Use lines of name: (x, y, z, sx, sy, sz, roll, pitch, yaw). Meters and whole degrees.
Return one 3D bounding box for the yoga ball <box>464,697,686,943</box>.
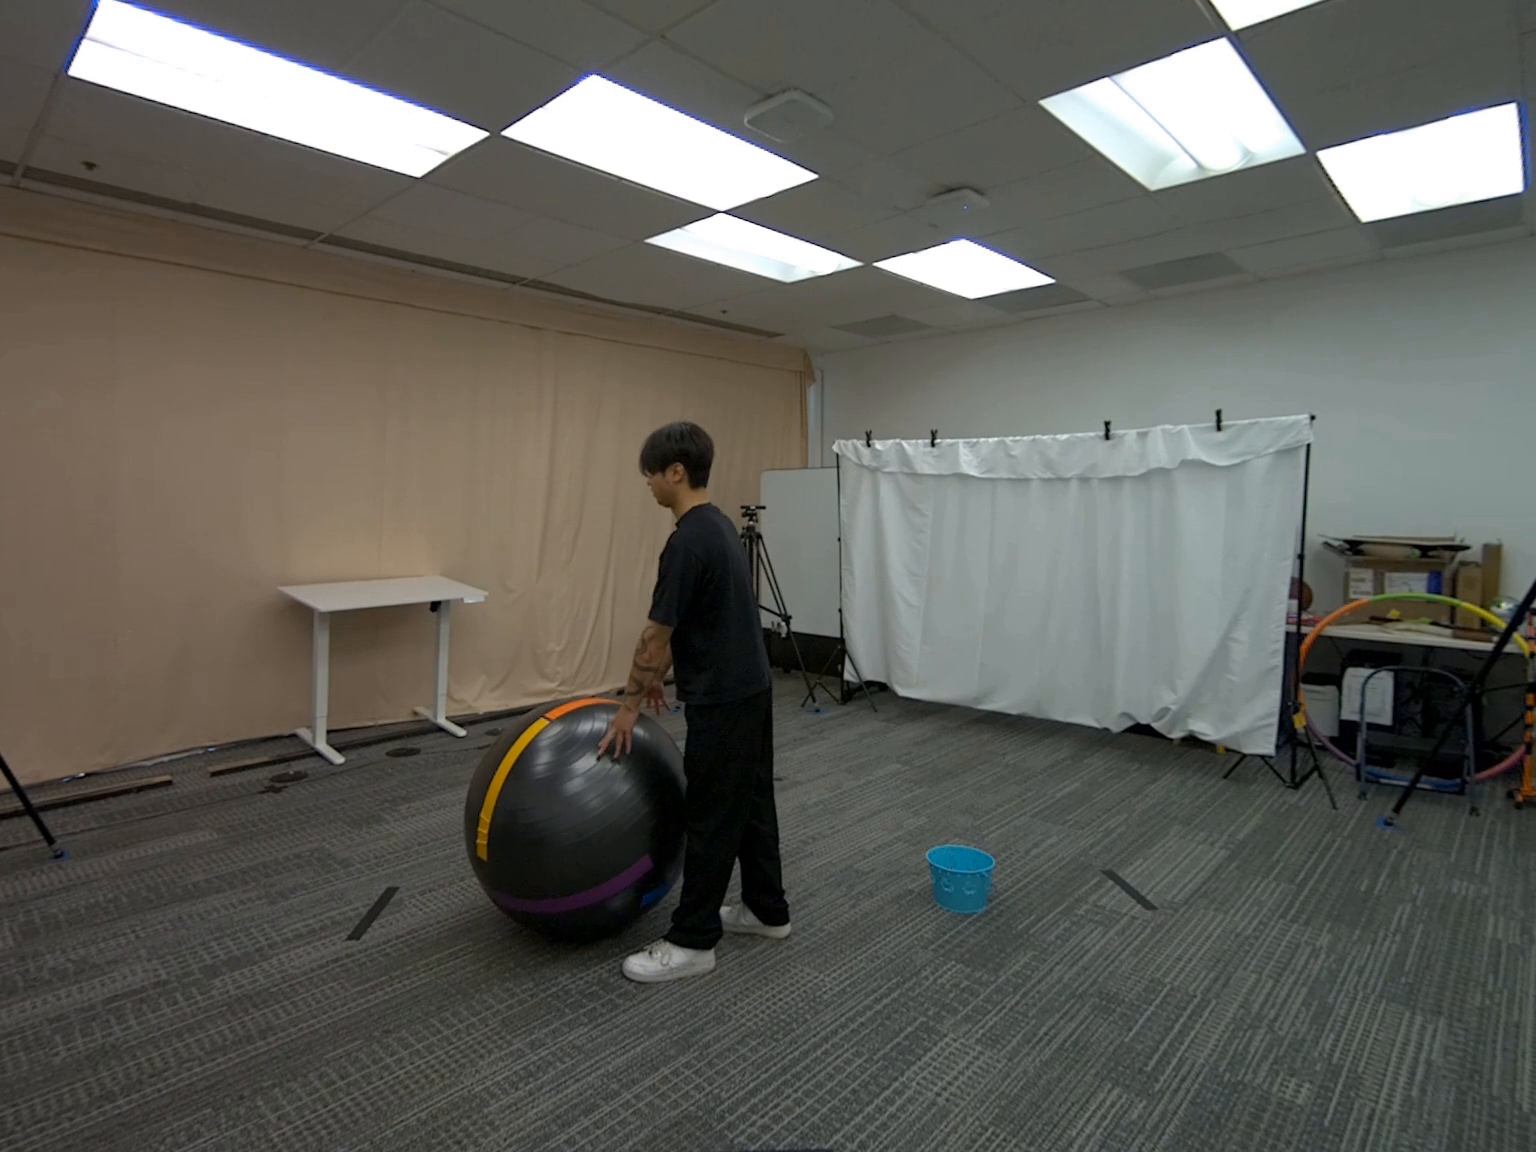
yoga ball: (-0.621, 0.794, 2.792, 0.757, 0.756, 0.760, 0, 4, -2)
